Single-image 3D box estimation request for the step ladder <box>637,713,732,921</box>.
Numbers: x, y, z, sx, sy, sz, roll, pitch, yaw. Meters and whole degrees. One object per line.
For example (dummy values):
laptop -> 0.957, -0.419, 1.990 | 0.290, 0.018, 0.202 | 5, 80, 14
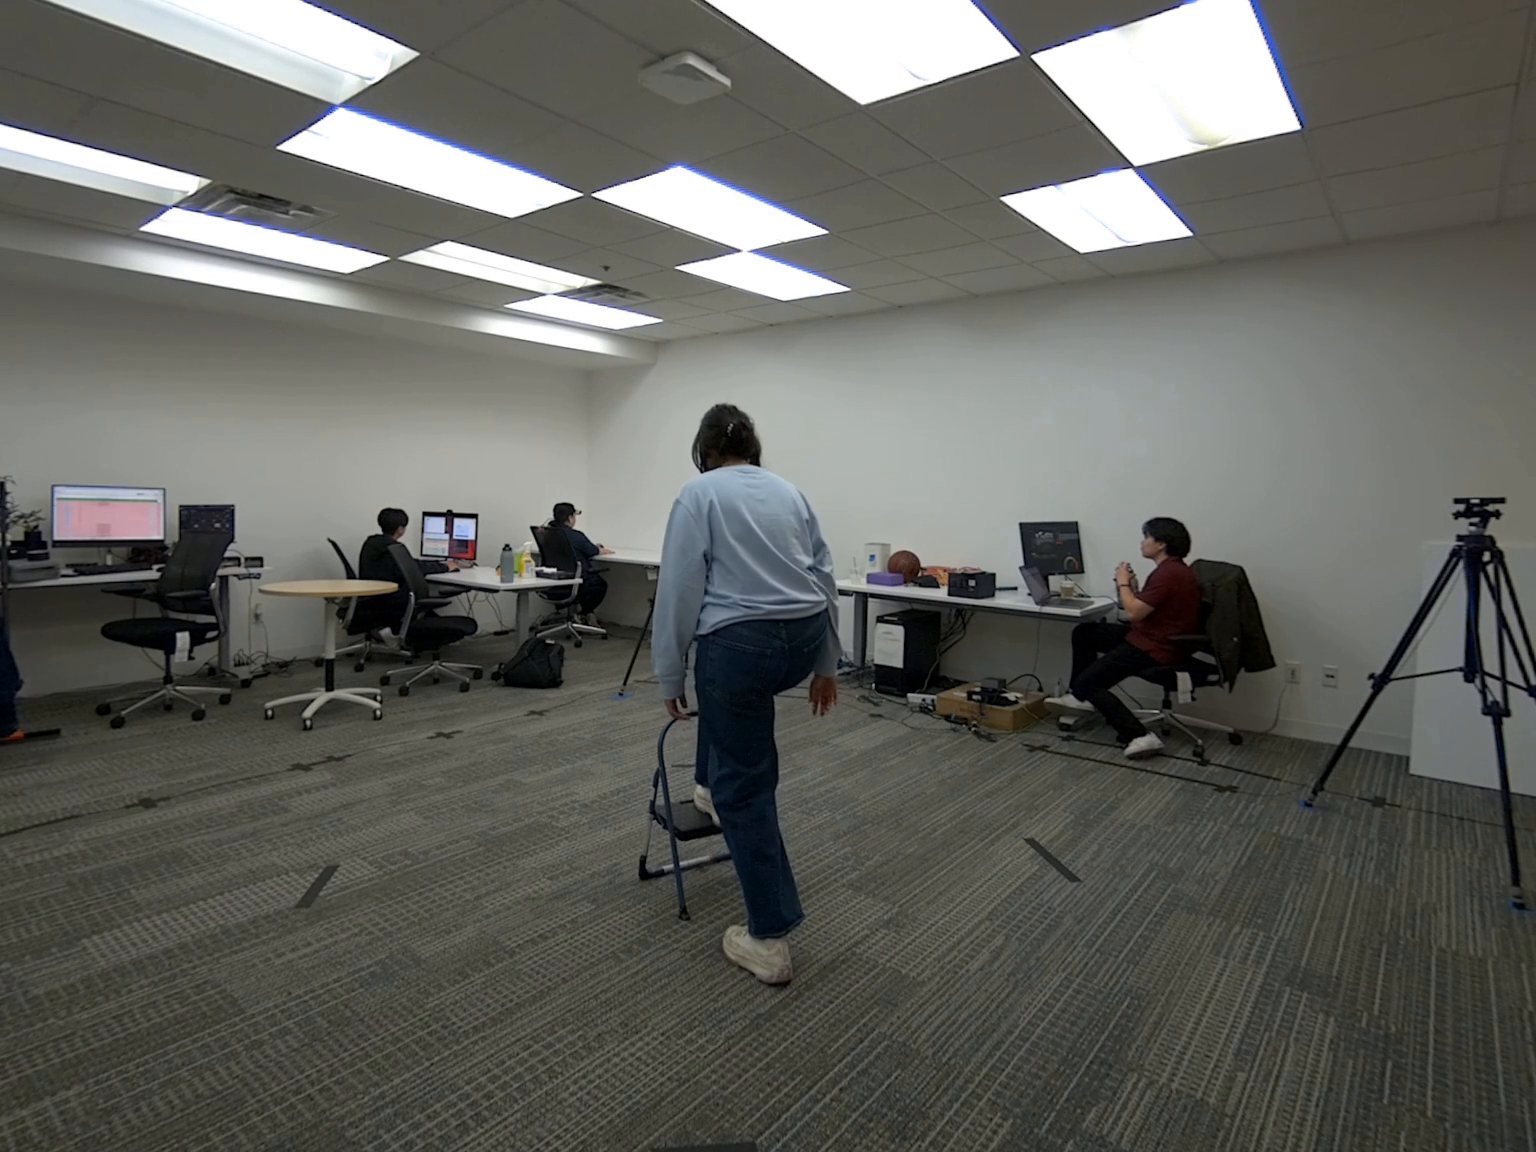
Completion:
step ladder -> -0.201, 0.782, 2.974 | 0.418, 0.604, 0.360 | -1, 4, -34
